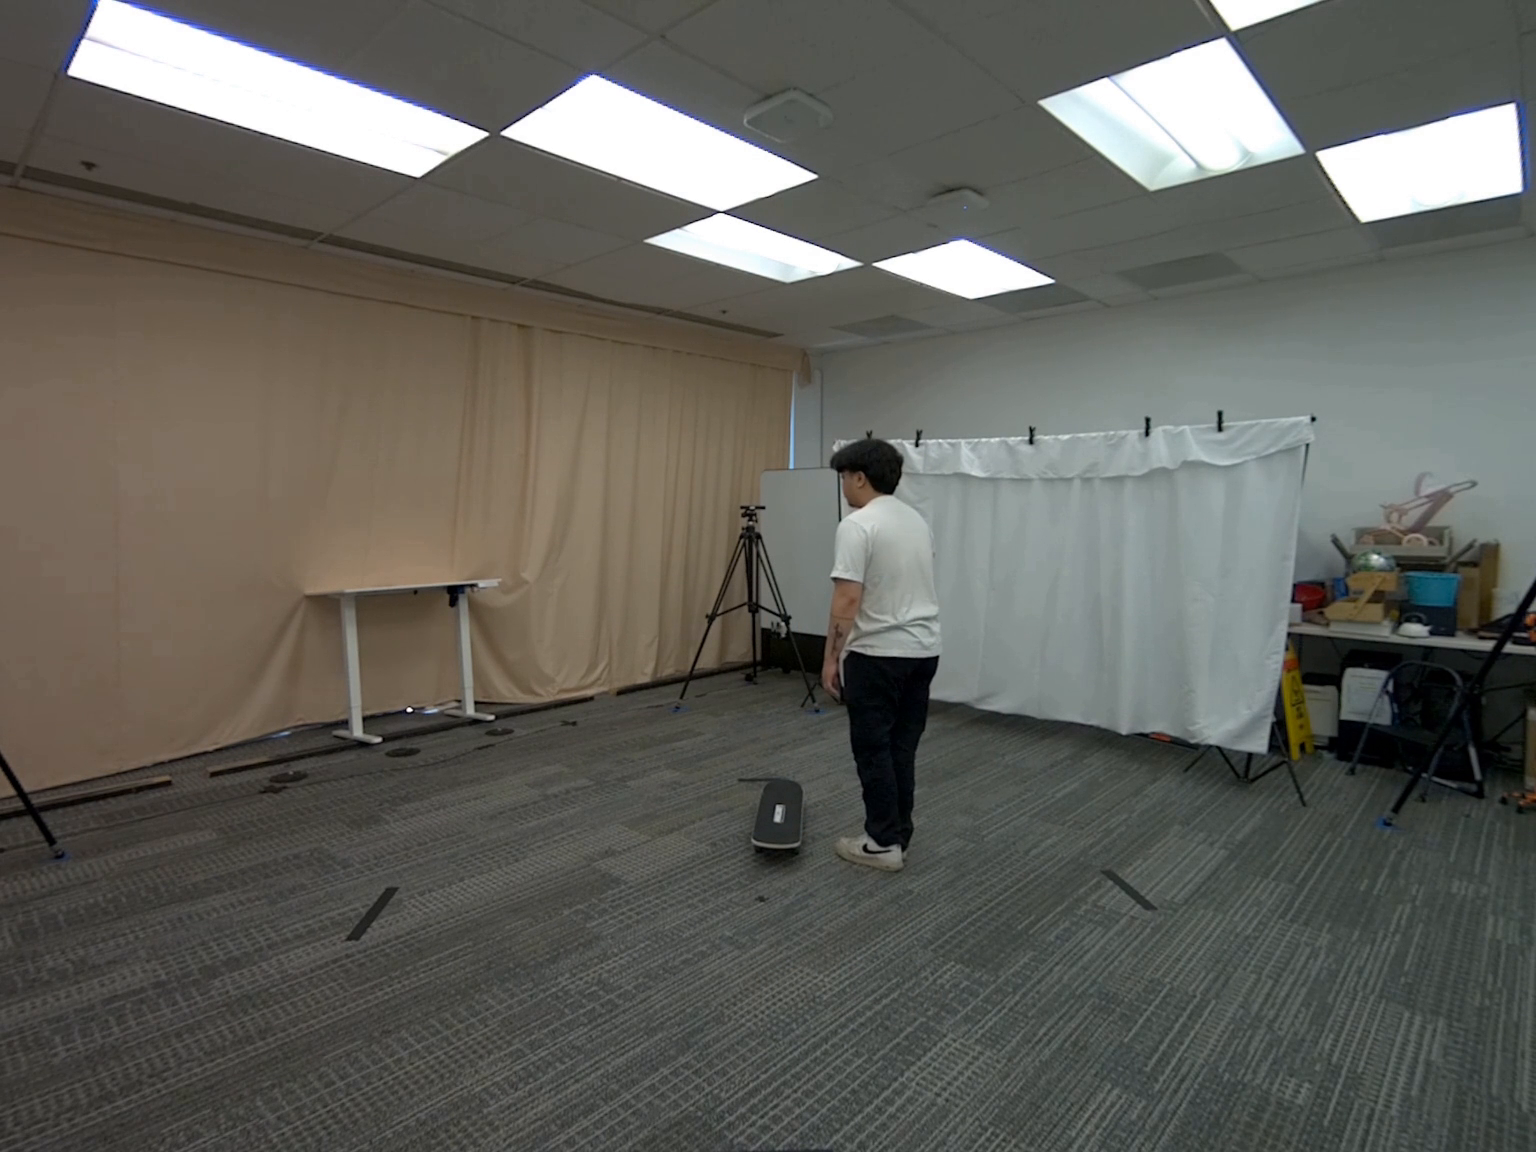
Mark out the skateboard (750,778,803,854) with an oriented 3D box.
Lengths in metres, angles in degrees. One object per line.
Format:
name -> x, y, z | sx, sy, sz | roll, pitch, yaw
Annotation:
skateboard -> 0.049, 1.038, 3.572 | 0.195, 0.110, 0.782 | 0, 5, 4
